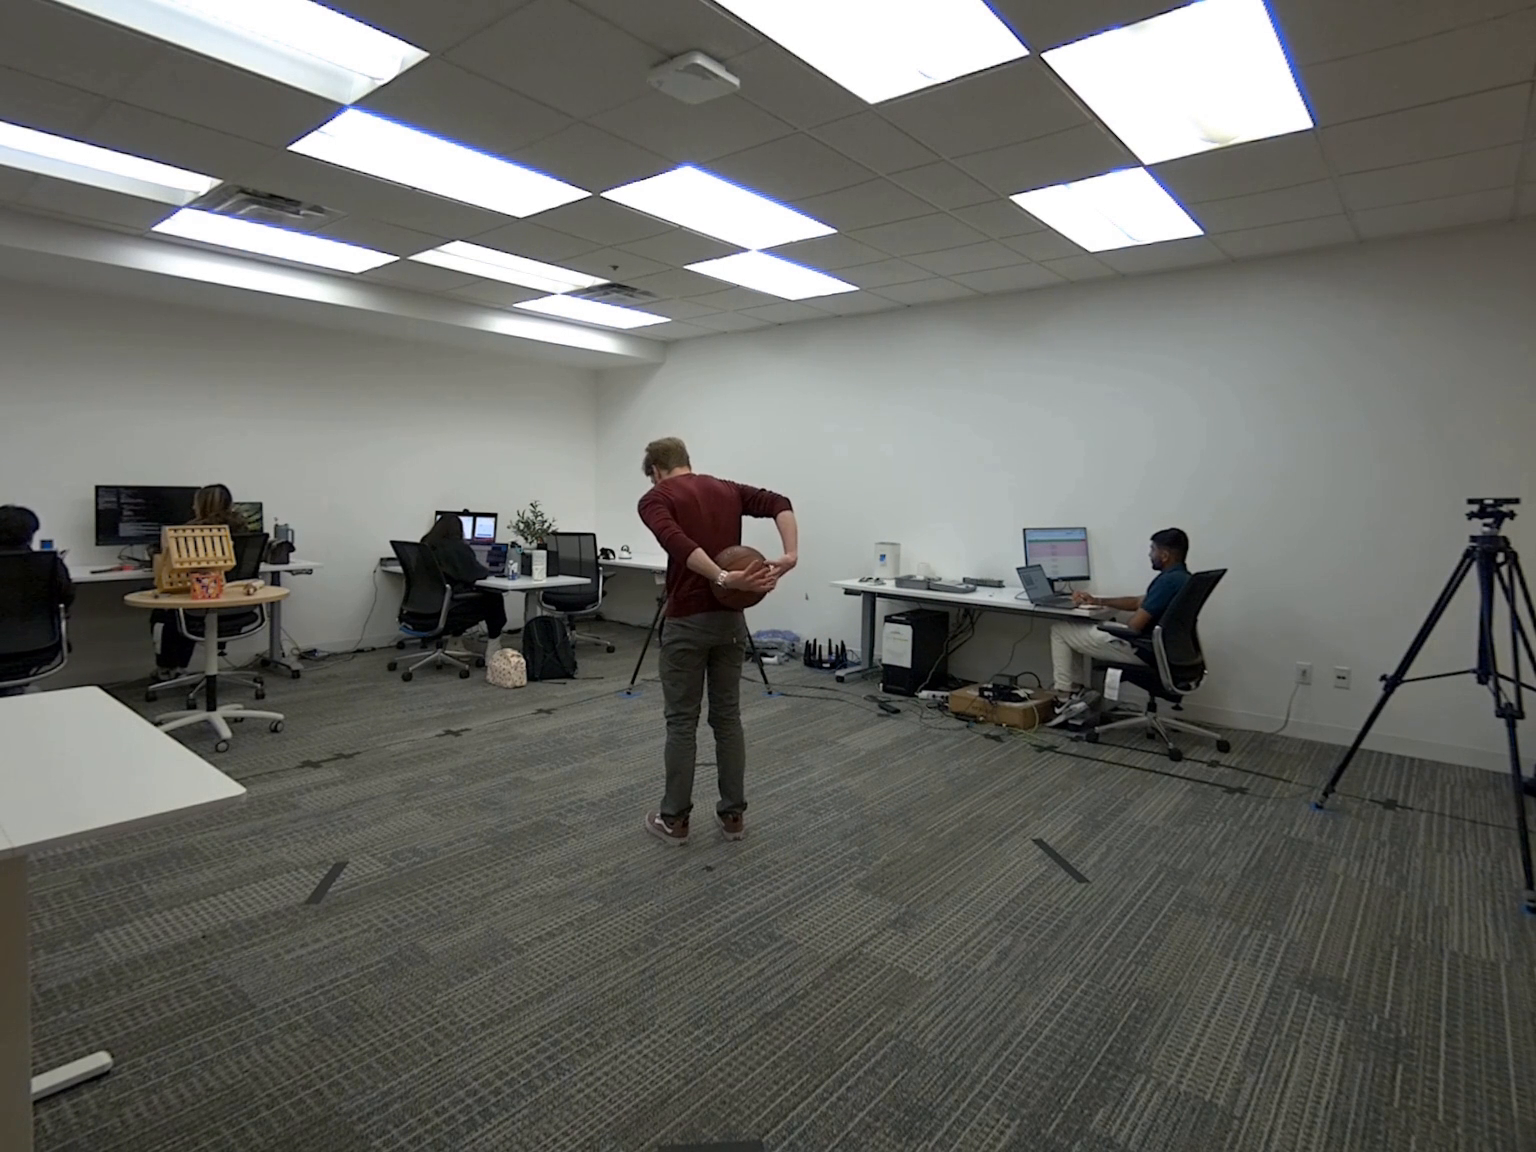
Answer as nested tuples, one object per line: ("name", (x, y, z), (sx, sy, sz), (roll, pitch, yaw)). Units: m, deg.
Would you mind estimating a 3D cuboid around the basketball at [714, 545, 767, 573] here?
("basketball", (-0.126, -0.006, 3.208), (0.235, 0.235, 0.237), (1, 4, -2))
